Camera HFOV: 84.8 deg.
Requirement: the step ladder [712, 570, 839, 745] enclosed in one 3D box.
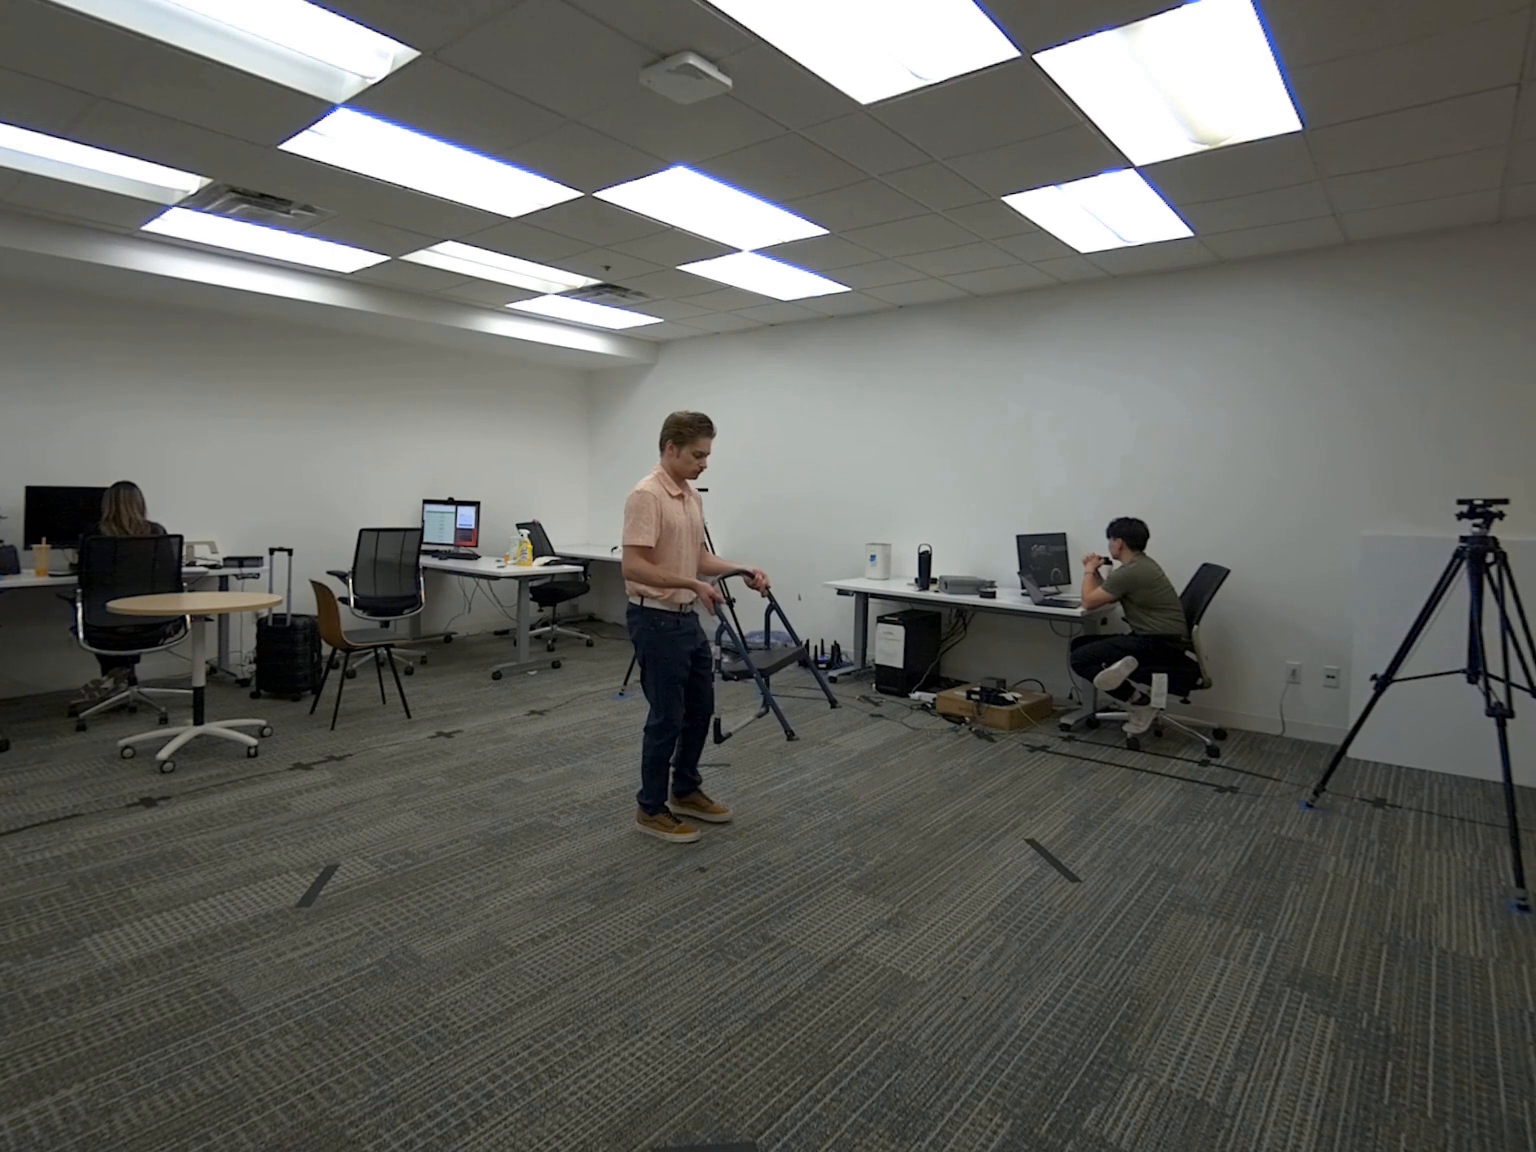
[{"bbox_3d":[-0.033,0.267,3.217,0.357,0.606,0.422,-12,1,30],"label":"step ladder"}]
